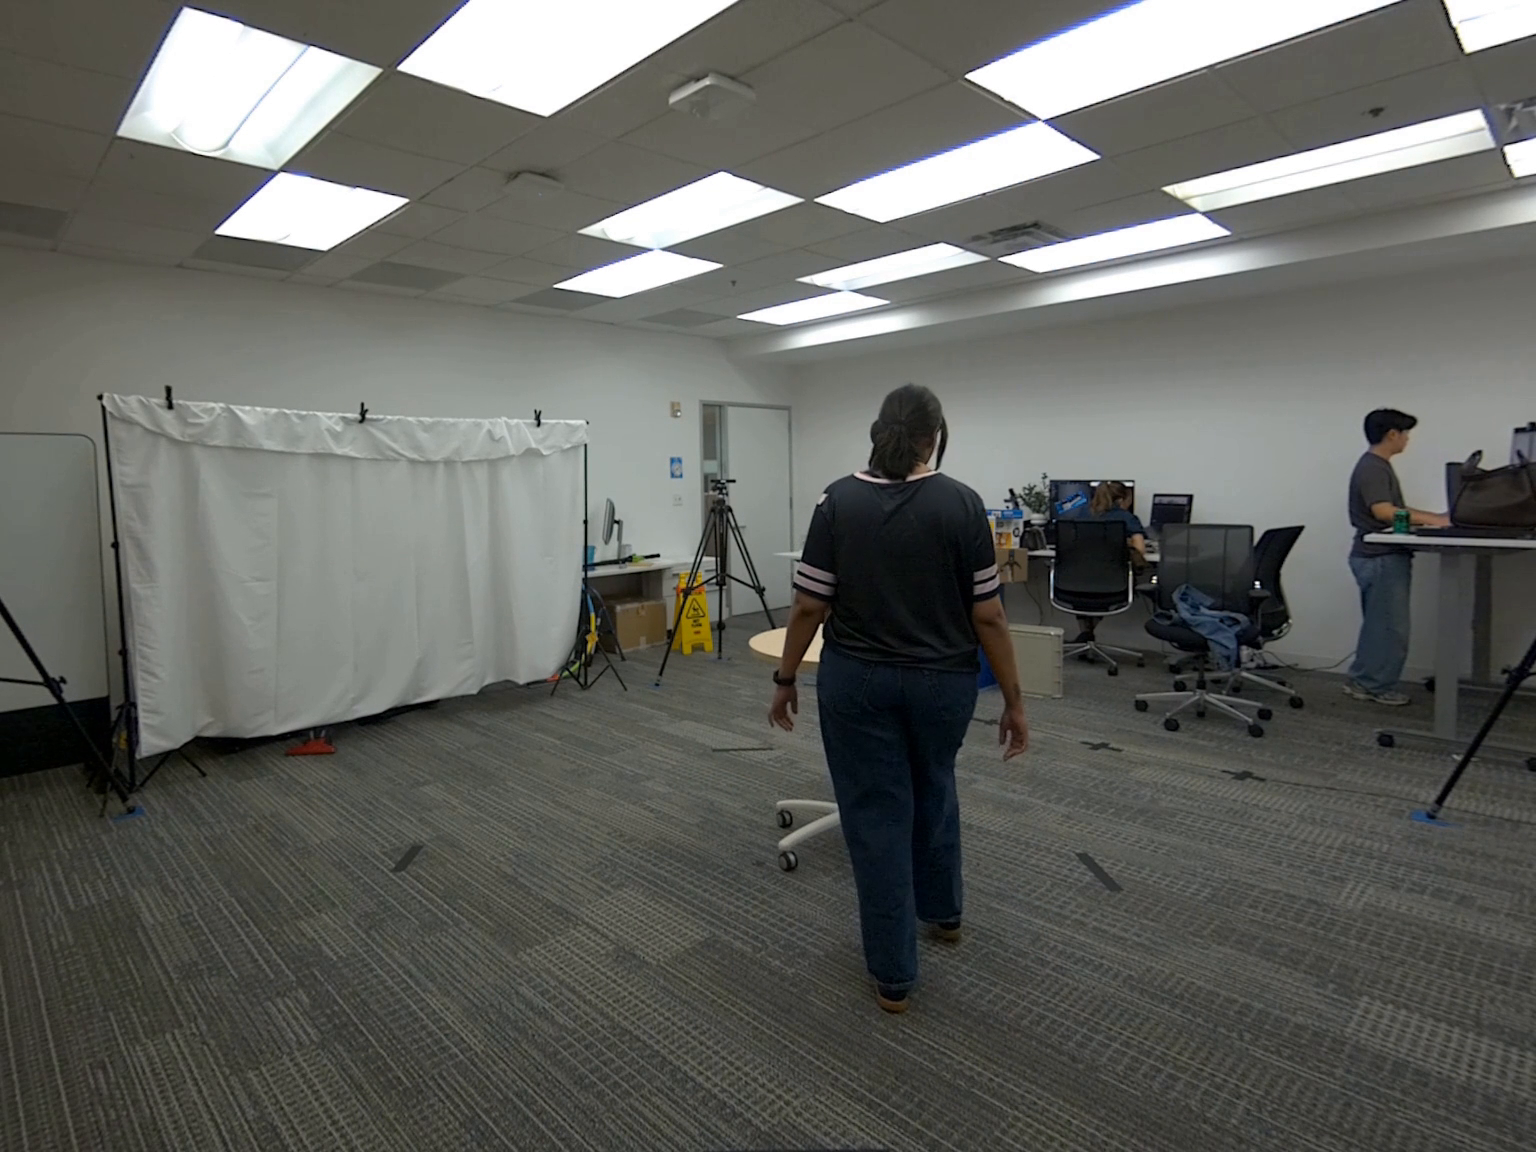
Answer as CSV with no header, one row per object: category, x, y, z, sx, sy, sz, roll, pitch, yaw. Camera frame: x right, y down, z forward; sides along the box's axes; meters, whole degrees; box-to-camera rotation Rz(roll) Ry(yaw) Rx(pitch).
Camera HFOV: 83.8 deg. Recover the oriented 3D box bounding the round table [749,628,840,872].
round table,0.334,0.640,3.231,0.763,0.791,0.768,-1,5,-2
